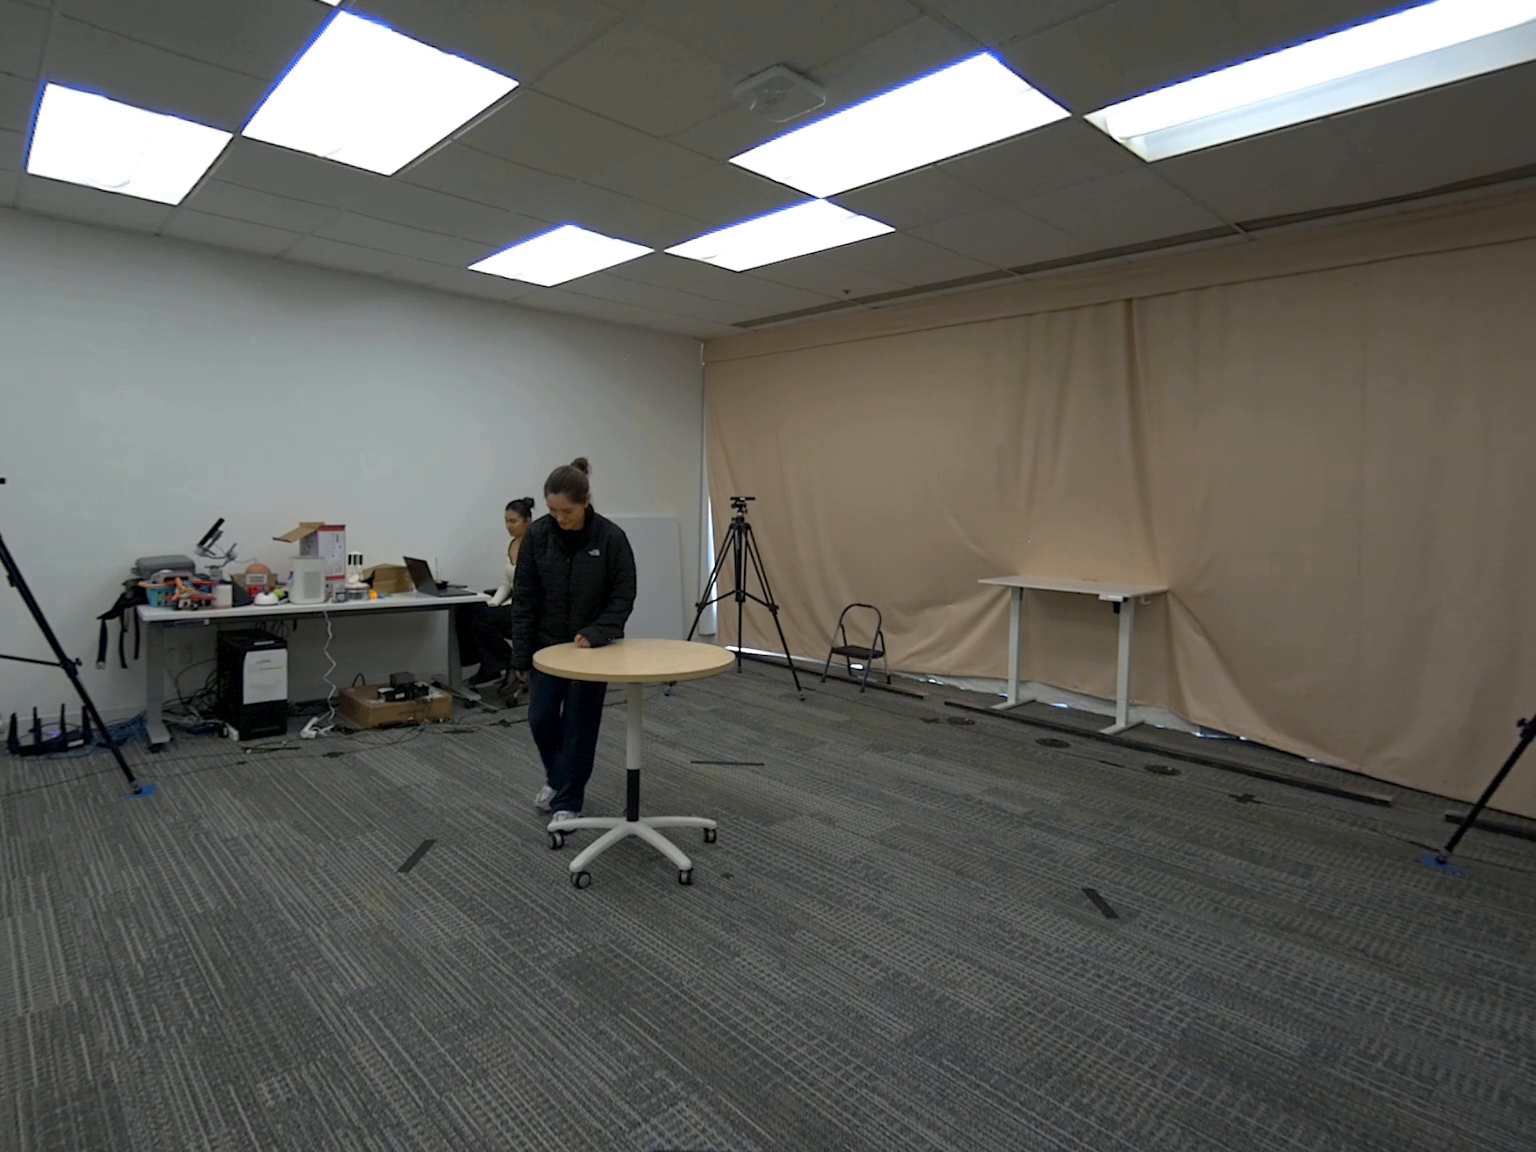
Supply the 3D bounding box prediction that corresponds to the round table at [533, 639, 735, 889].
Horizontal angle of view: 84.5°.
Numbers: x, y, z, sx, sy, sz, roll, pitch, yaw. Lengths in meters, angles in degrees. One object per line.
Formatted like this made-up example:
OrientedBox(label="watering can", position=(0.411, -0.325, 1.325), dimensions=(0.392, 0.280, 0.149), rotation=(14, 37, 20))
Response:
OrientedBox(label="round table", position=(-0.510, 0.695, 3.211), dimensions=(0.784, 0.785, 0.787), rotation=(1, 3, -1))
